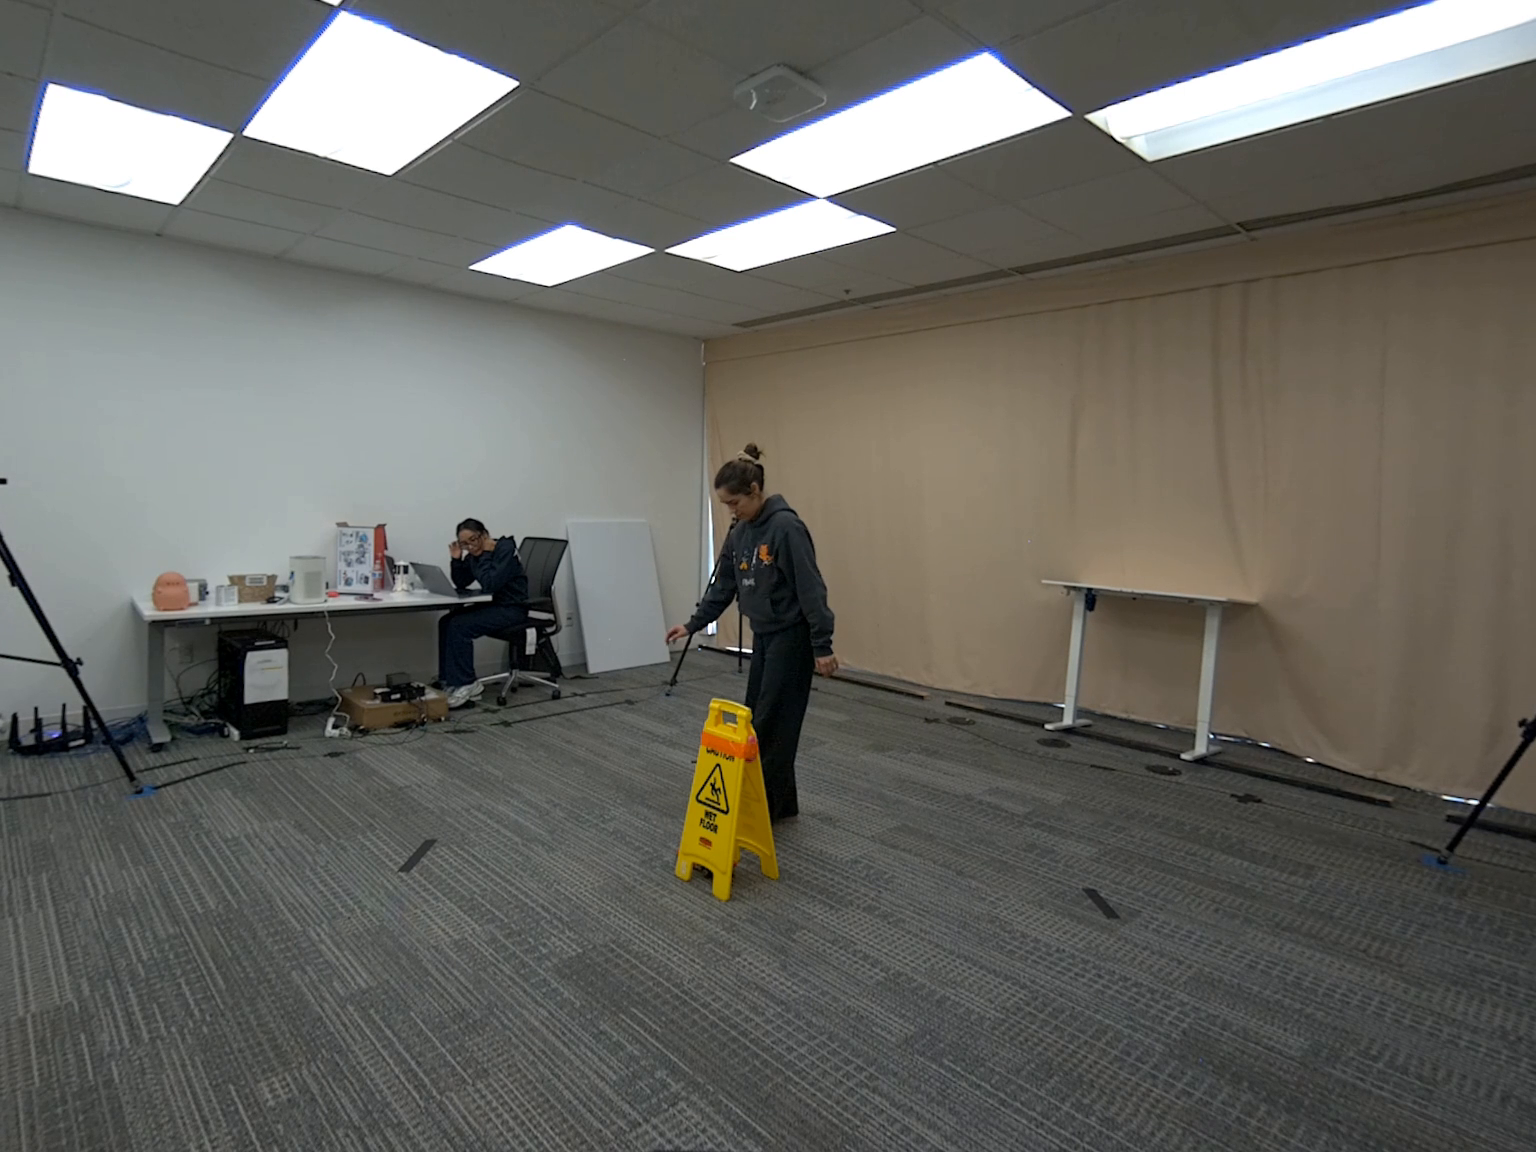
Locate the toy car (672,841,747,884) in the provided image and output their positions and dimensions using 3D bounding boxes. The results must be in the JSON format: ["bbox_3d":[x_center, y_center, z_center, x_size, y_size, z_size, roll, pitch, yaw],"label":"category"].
[{"bbox_3d":[-0.224,1.069,3.172,0.260,0.083,0.127,-7,-3,43],"label":"toy car"}]
